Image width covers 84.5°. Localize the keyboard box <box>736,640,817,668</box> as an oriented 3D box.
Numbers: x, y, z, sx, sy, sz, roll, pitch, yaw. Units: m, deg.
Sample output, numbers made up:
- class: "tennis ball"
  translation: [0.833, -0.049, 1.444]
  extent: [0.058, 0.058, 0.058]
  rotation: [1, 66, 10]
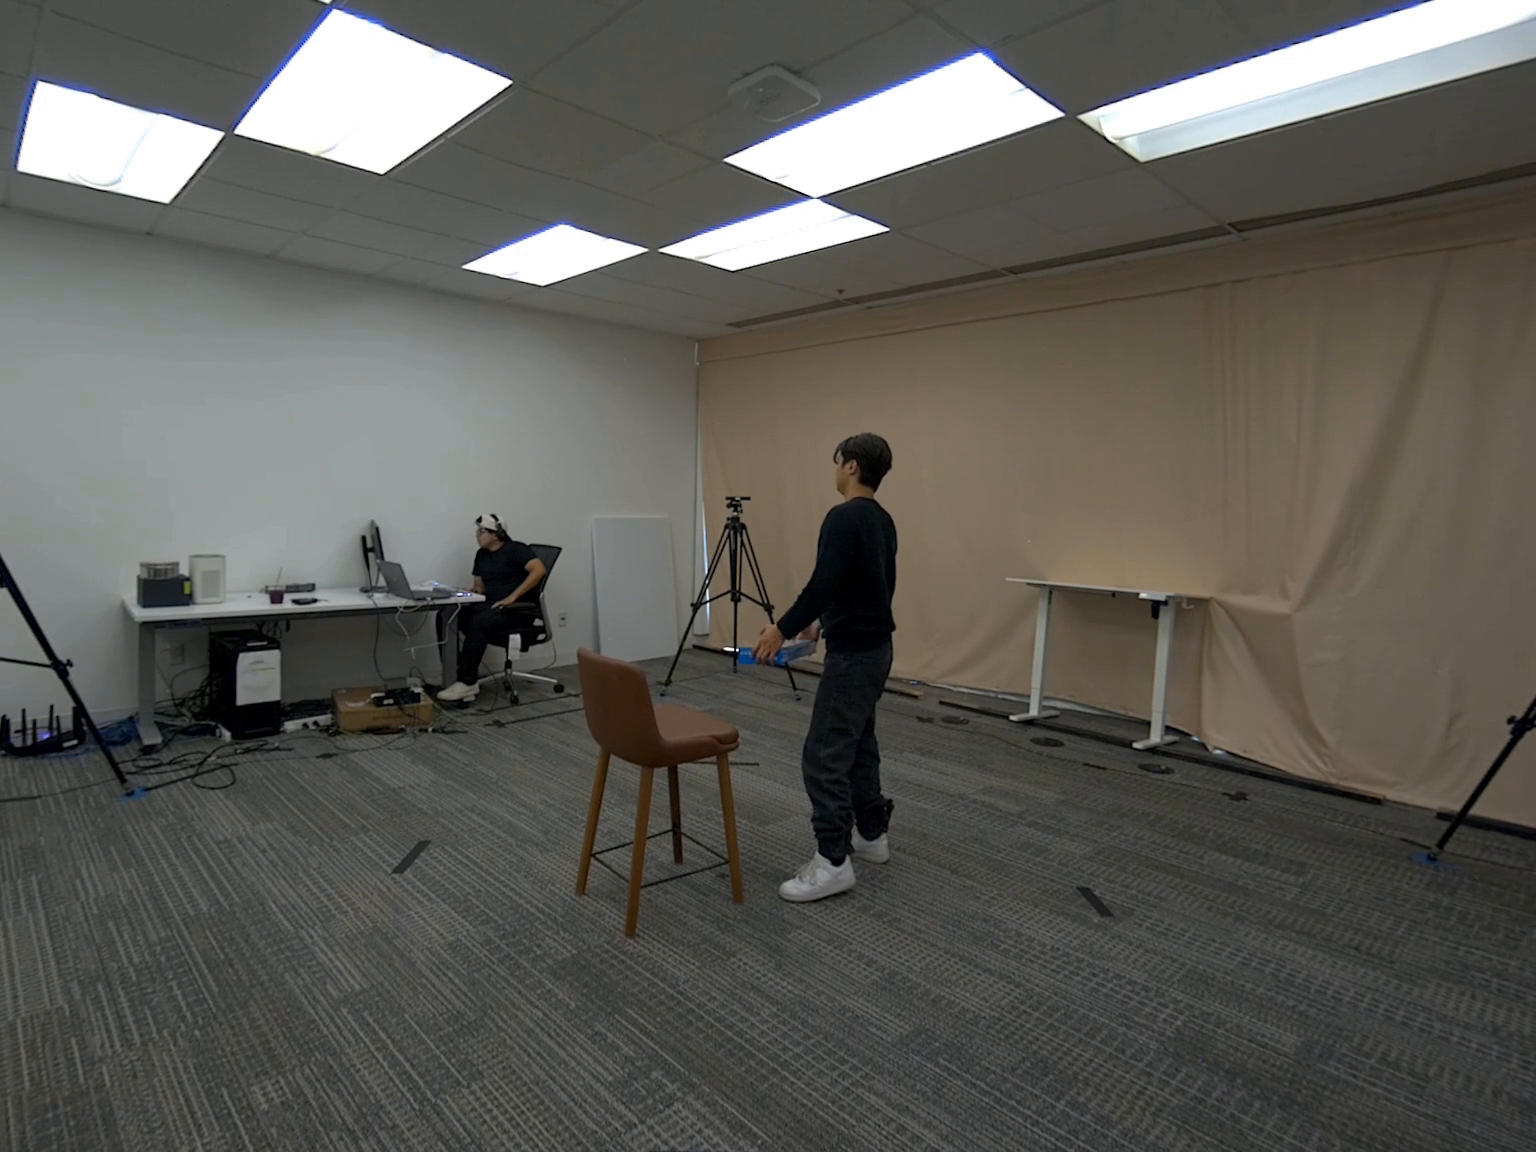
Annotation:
- class: "keyboard box"
  translation: [0.043, 0.296, 3.337]
  extent: [0.179, 0.059, 0.429]
  rotation: [-2, 0, 22]
